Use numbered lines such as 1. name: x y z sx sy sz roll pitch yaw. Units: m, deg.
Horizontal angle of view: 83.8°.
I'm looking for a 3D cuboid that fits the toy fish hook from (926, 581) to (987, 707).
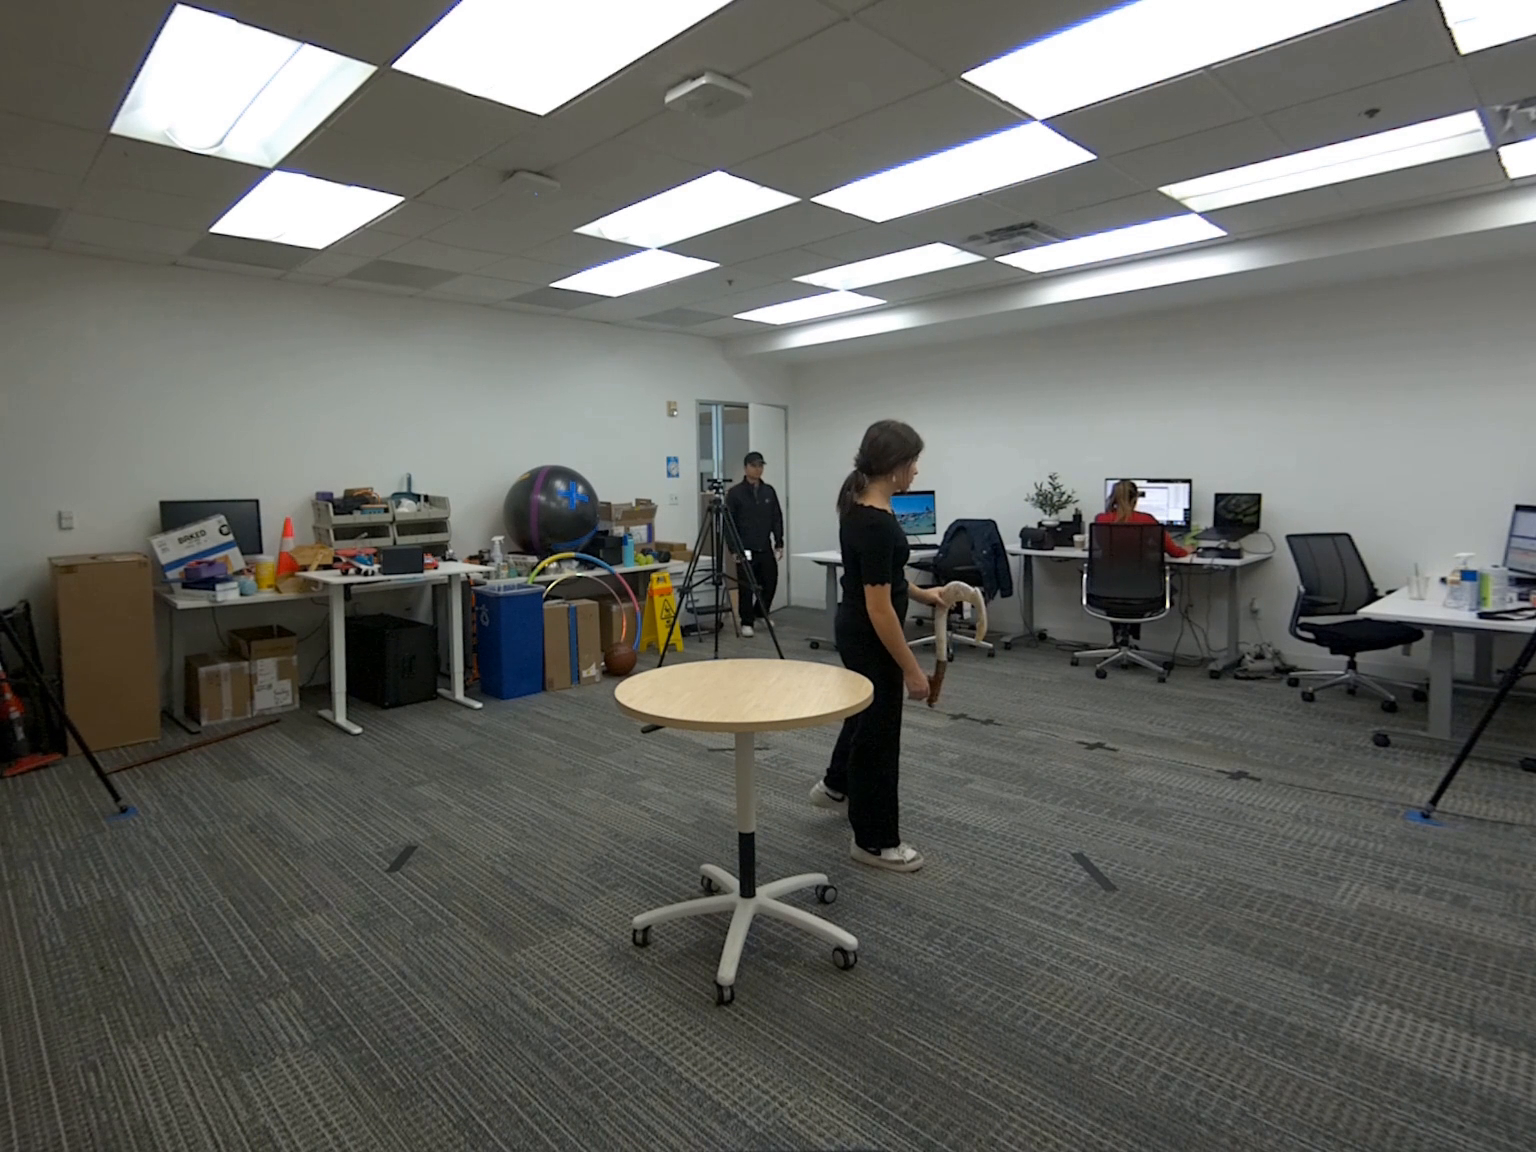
1. toy fish hook: 0.676 0.285 3.164 0.047 0.501 0.233 -1 16 -34
